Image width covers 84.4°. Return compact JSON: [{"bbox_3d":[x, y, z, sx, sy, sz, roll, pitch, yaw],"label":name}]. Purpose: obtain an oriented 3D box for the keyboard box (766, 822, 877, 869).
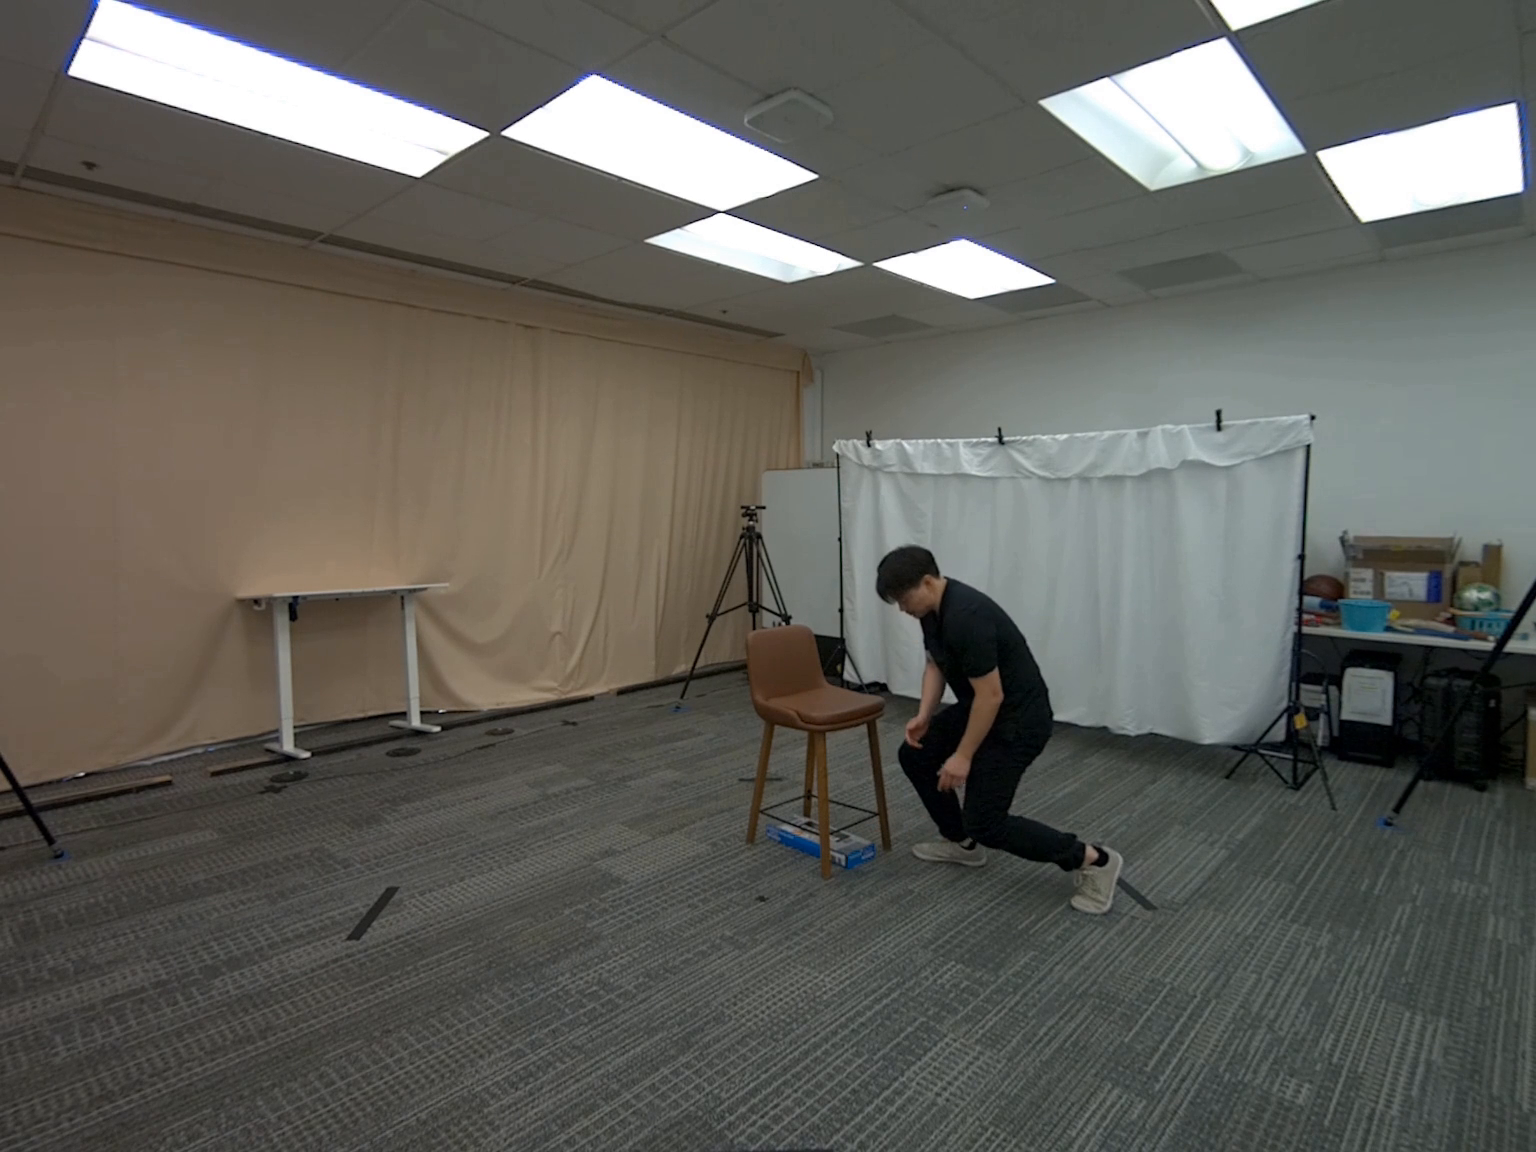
[{"bbox_3d":[0.213,1.085,3.440,0.170,0.059,0.451,-4,6,-44],"label":"keyboard box"}]
